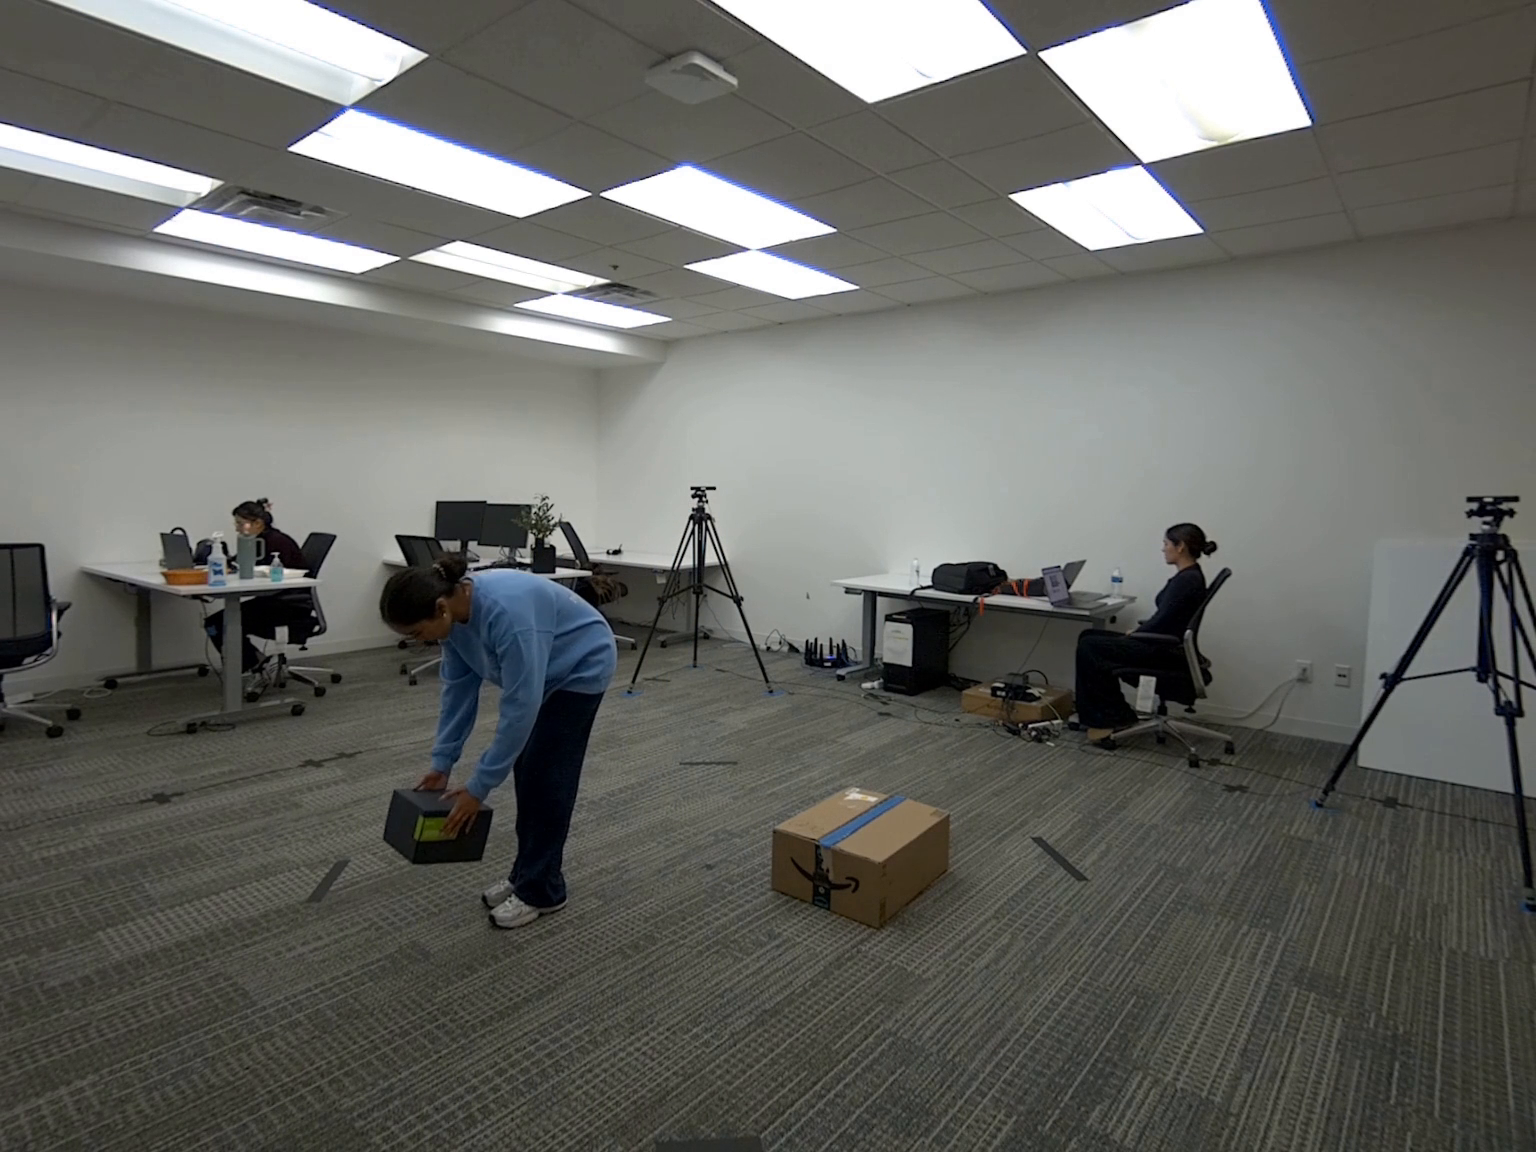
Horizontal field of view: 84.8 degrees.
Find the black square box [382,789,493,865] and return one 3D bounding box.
[{"bbox_3d":[-1.013,0.738,2.579,0.225,0.156,0.219,8,-4,43],"label":"black square box"}]
